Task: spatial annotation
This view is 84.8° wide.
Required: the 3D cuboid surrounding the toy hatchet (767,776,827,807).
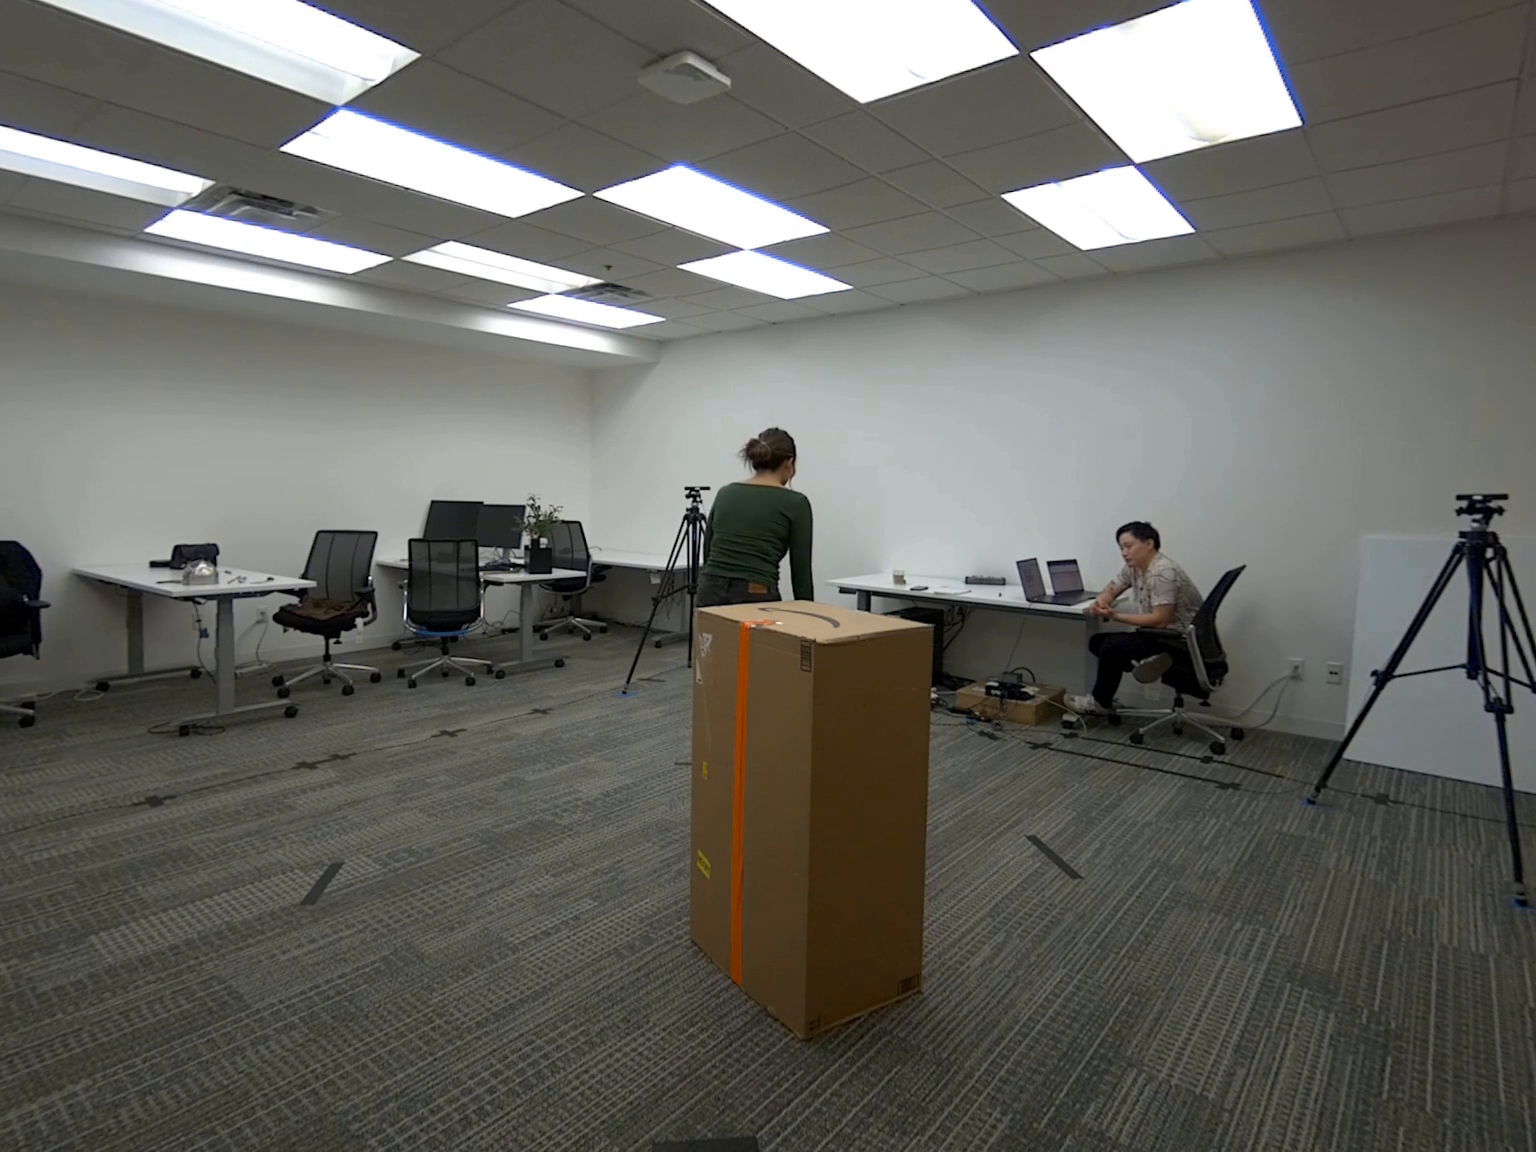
[{"bbox_3d":[0.131,0.978,3.835,0.135,0.029,0.262,6,9,40],"label":"toy hatchet"}]
